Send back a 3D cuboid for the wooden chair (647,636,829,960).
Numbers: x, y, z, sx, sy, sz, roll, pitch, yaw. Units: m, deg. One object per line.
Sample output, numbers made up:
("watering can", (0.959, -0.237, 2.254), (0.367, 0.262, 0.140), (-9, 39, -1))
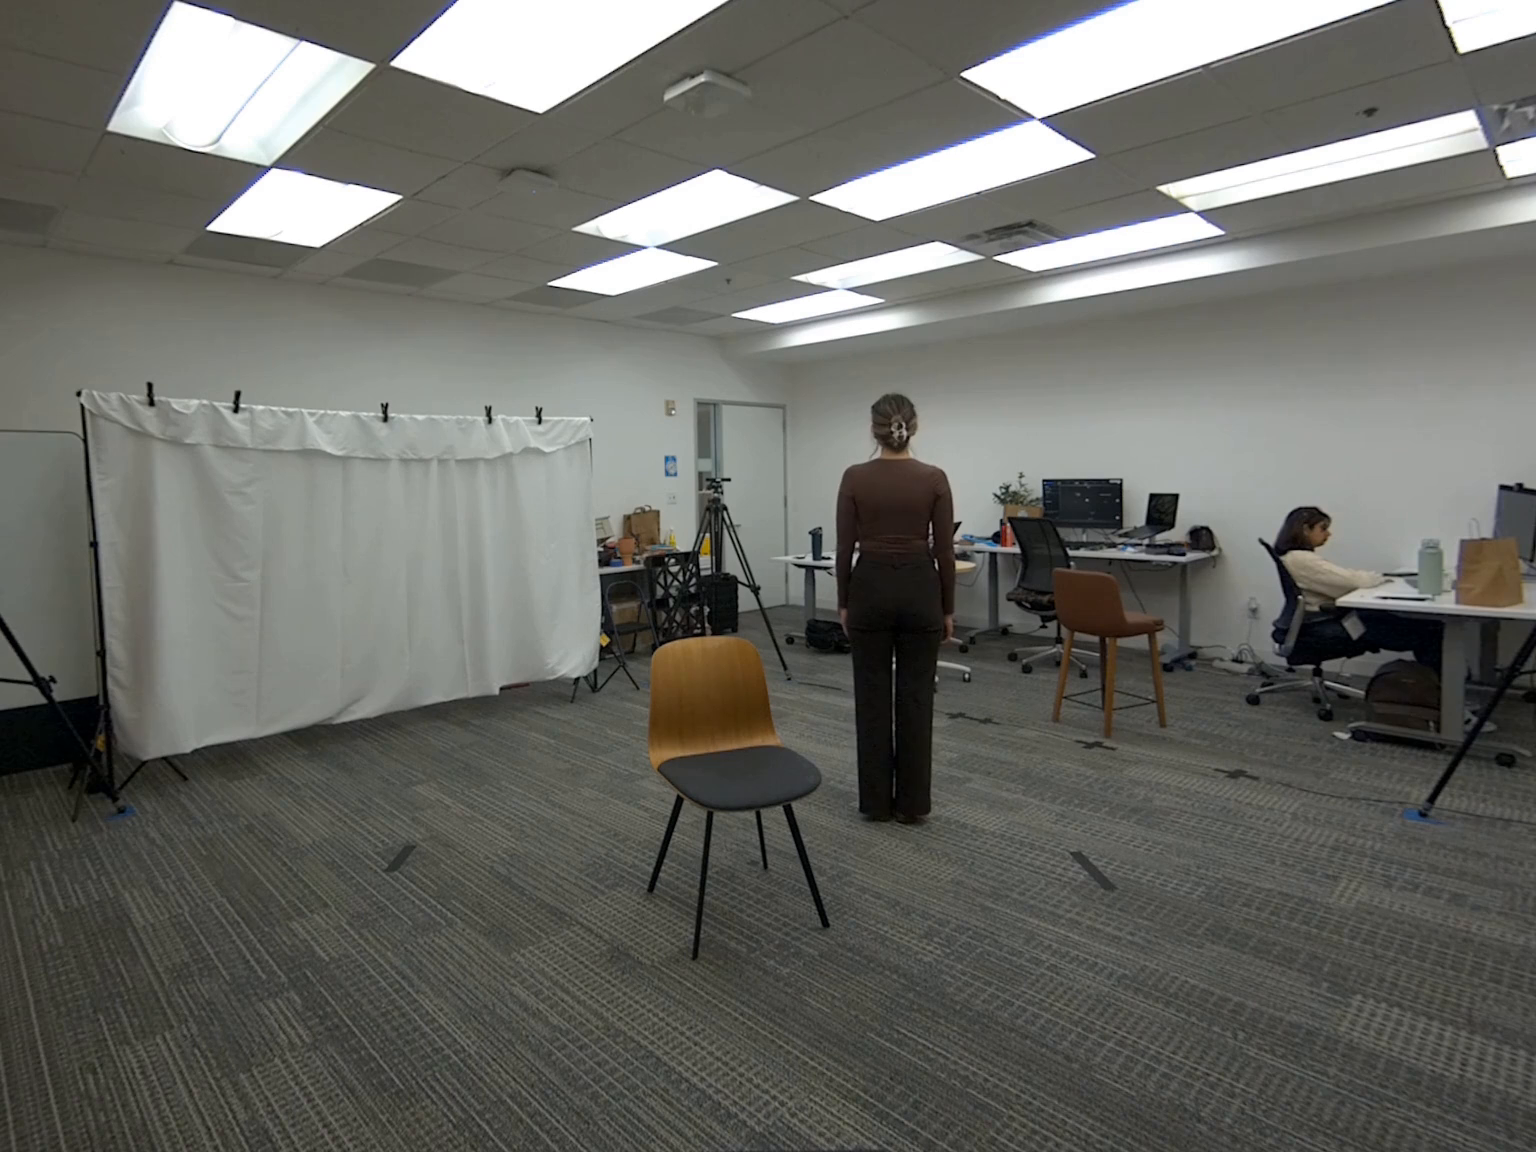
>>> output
("wooden chair", (-0.112, 0.660, 2.732), (0.468, 0.877, 0.534), (-3, 1, -24))
